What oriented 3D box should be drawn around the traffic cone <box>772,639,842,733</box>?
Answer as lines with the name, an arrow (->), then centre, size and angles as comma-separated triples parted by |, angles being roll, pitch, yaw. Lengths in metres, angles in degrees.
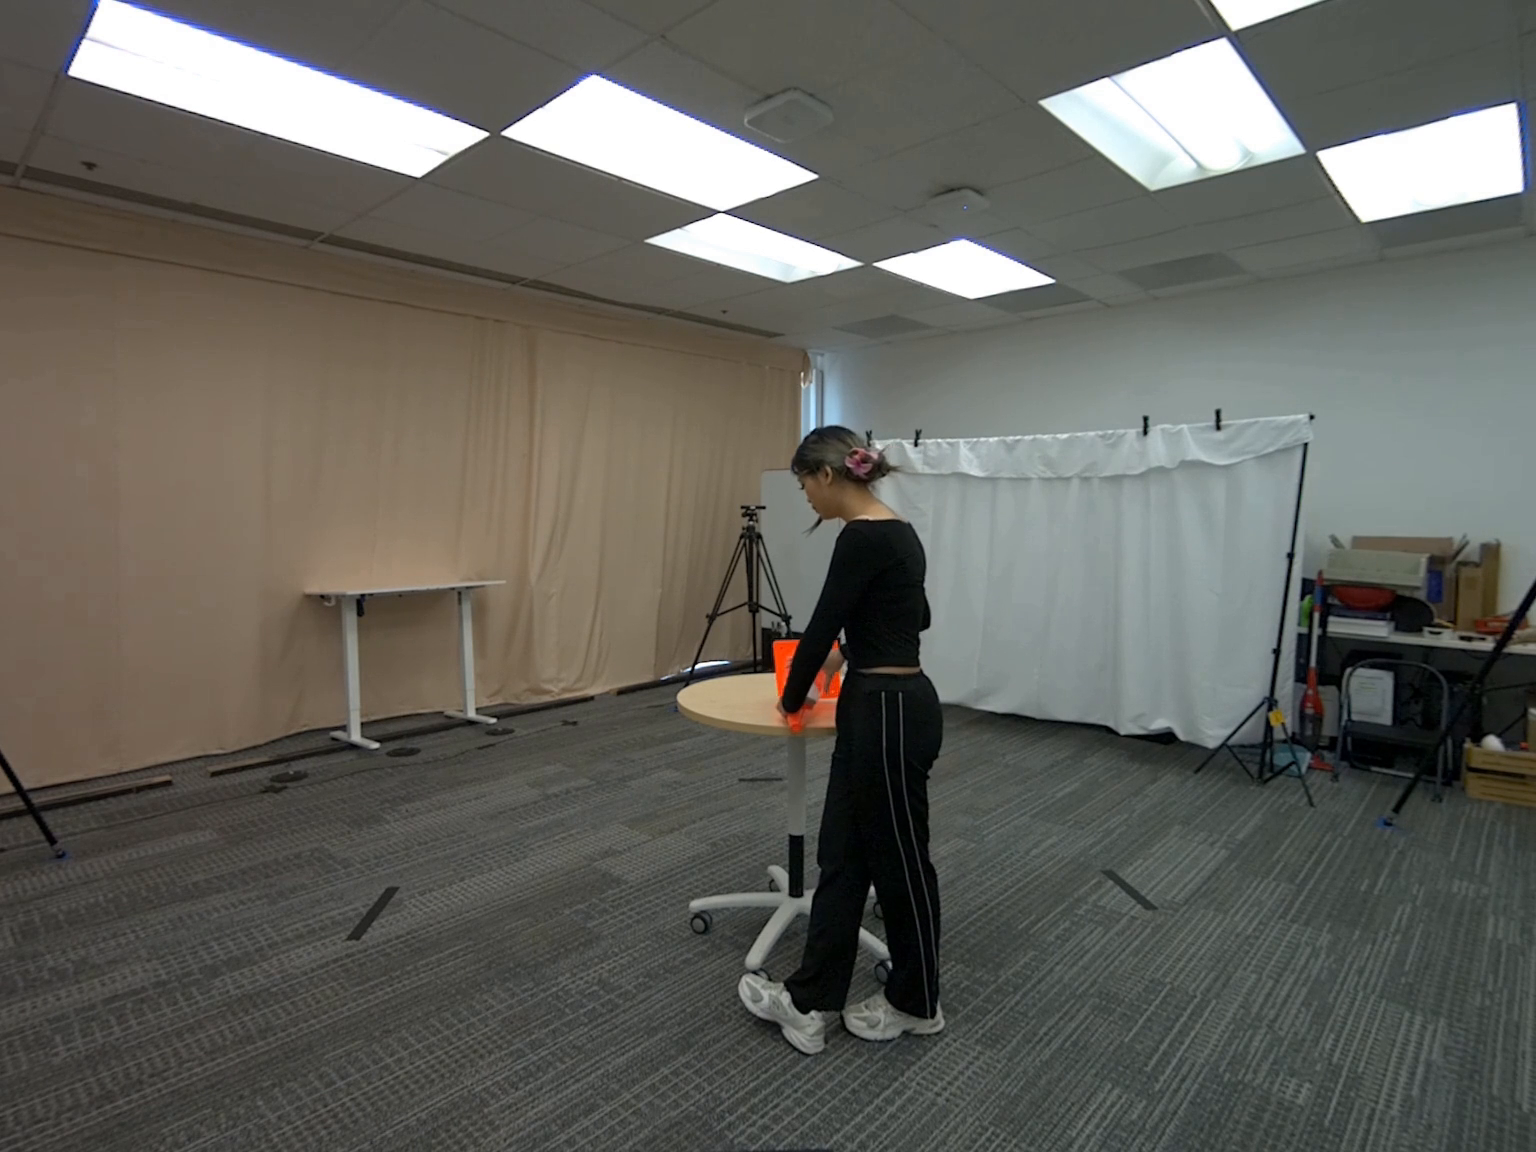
traffic cone -> 0.110, 0.335, 2.417 | 0.204, 0.203, 0.384 | -2, 12, 4
